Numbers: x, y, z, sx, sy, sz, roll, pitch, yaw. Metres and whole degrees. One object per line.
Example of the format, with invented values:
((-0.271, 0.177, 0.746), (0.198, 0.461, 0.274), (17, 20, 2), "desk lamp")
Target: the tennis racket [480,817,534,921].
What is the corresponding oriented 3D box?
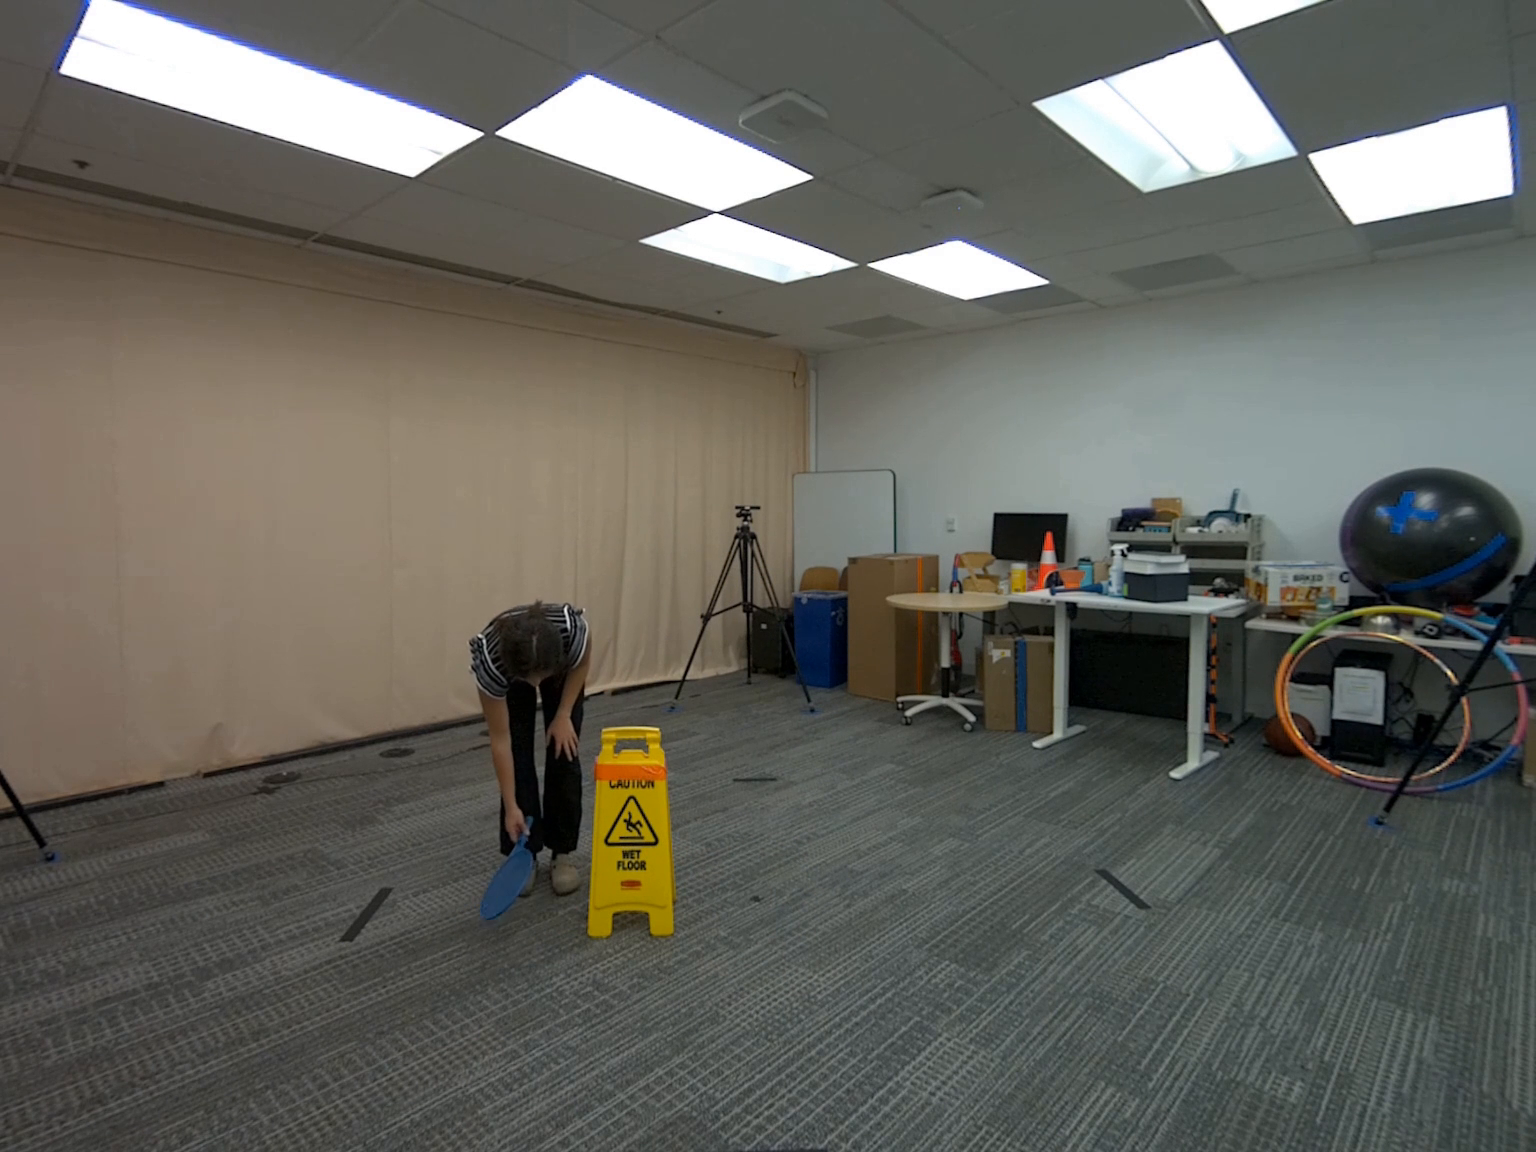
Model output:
((-0.848, 0.971, 2.827), (0.215, 0.031, 0.440), (-31, 25, 11), "tennis racket")
